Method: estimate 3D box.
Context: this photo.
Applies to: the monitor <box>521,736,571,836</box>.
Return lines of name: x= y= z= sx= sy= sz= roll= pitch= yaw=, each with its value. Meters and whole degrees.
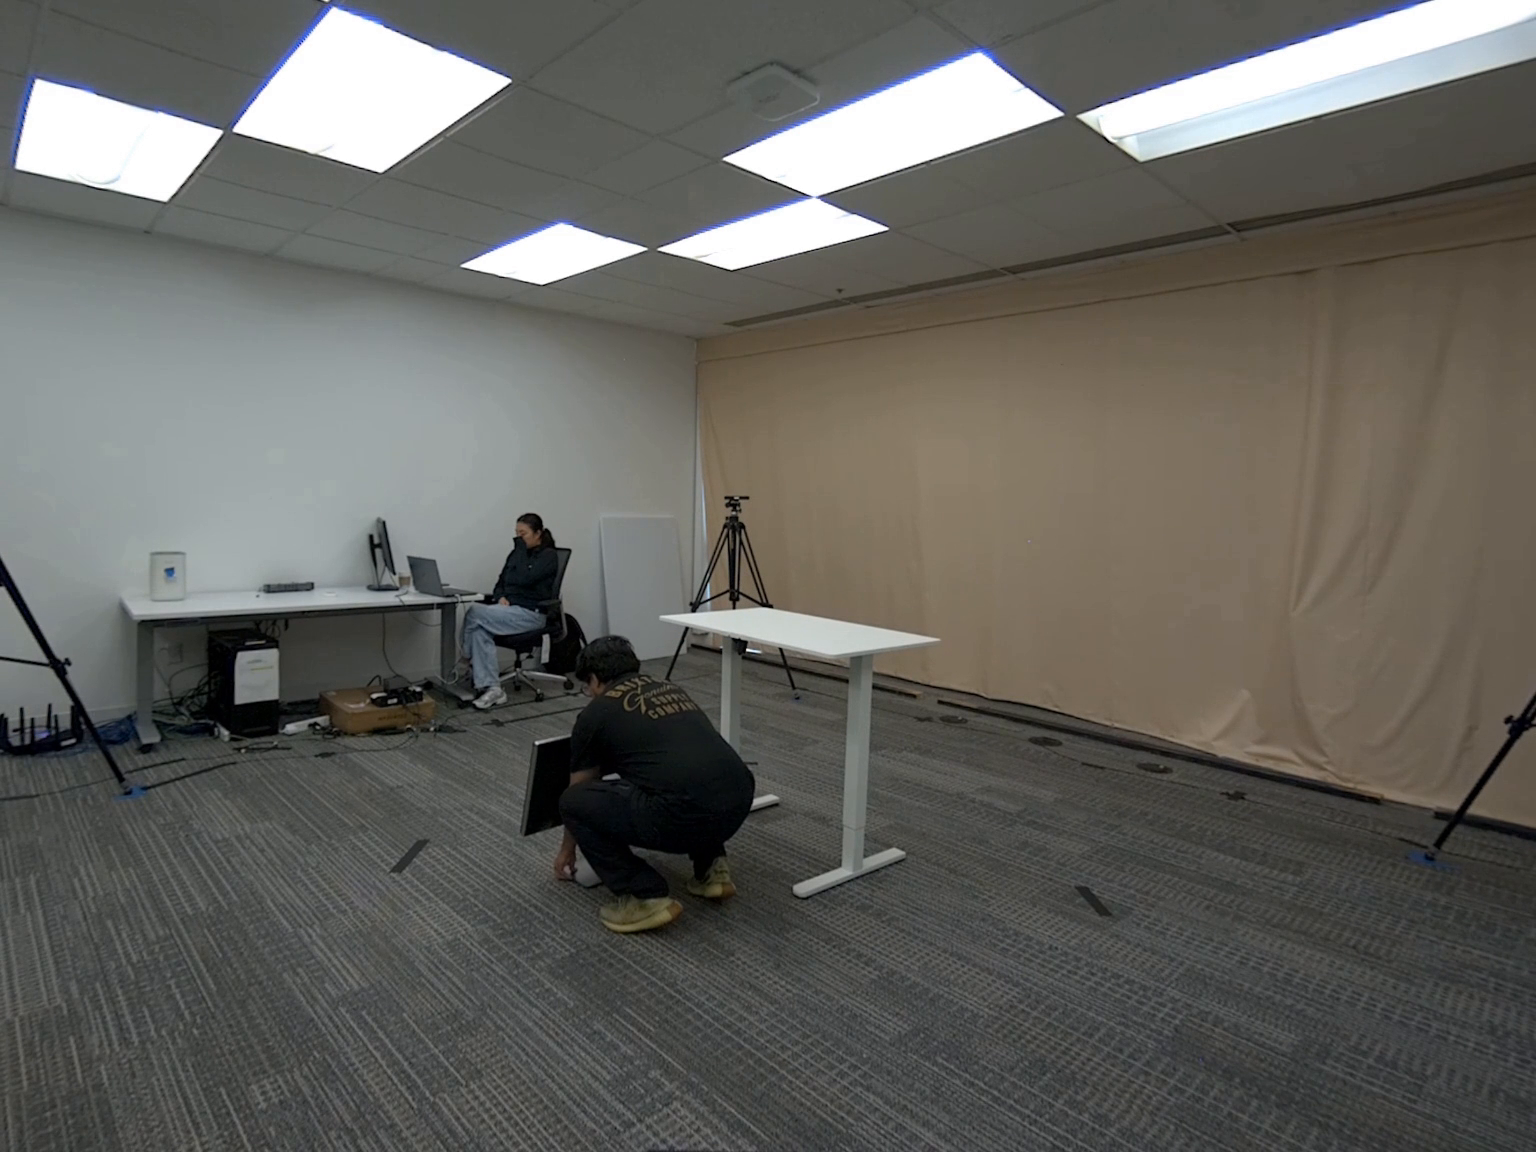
monitor: x=-0.600 y=0.825 z=3.086 sx=0.216 sy=0.551 sz=0.552 roll=13 pitch=11 yaw=43
